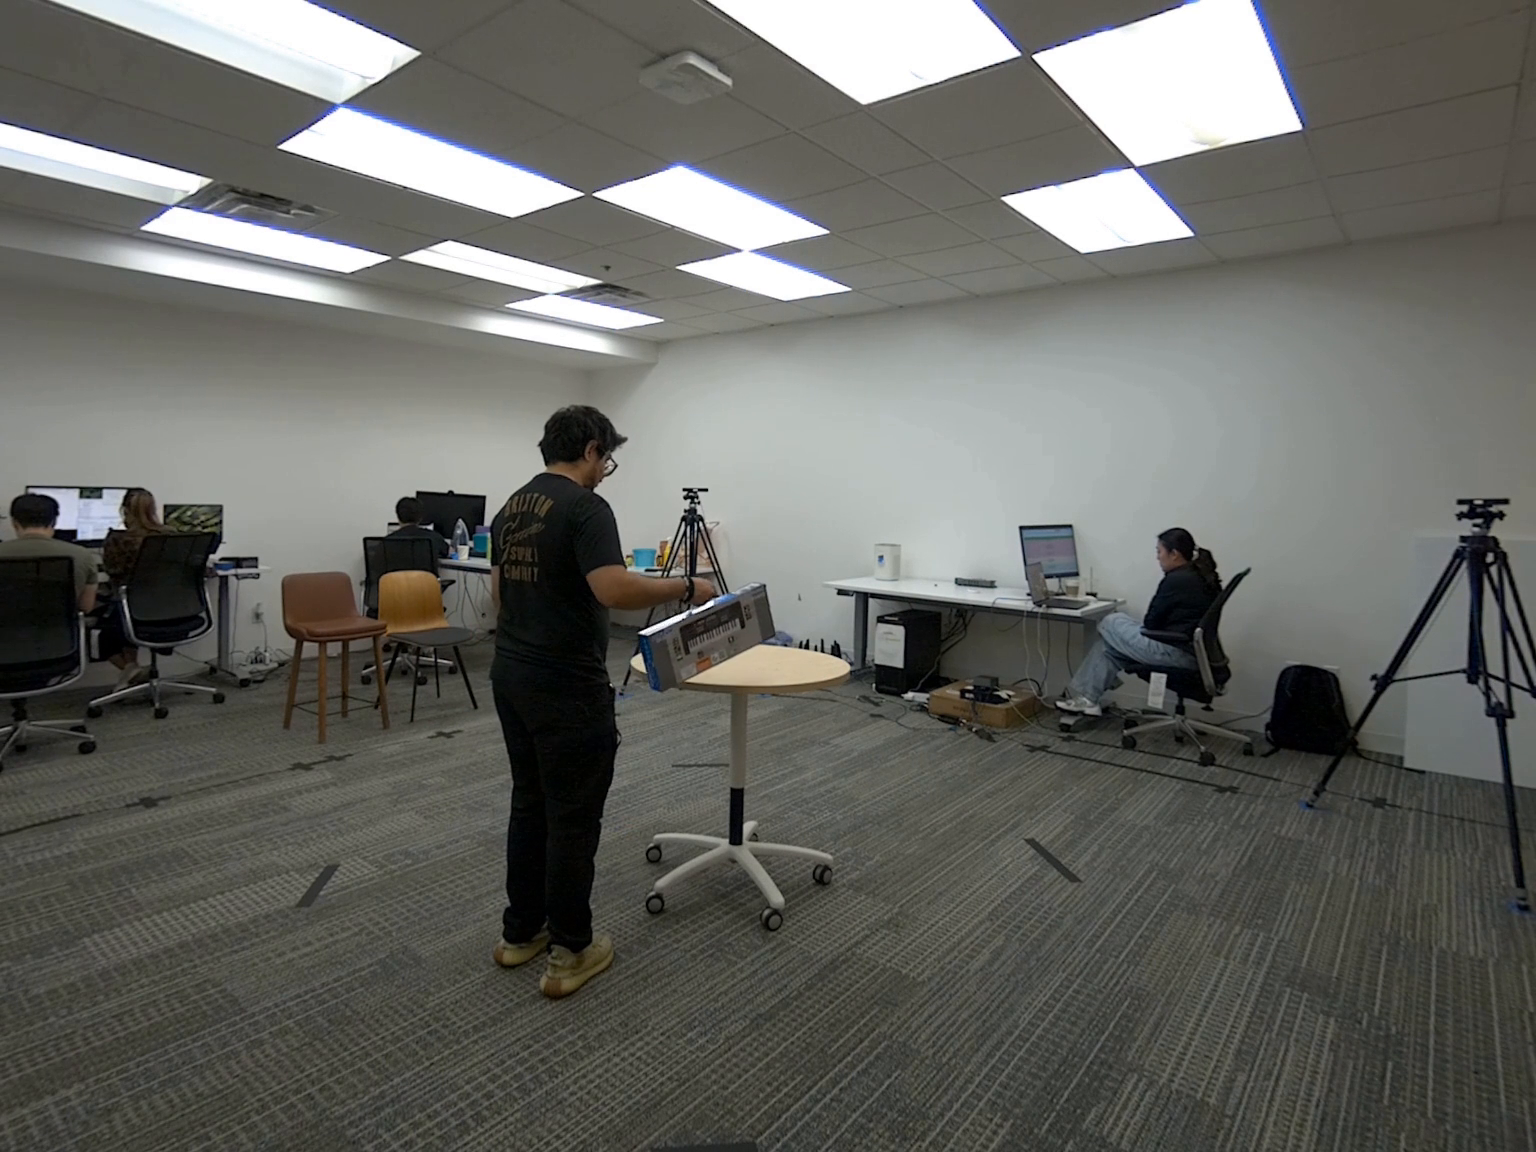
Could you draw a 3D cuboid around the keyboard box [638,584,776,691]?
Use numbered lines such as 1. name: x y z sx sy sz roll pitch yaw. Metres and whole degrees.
1. keyboard box: -0.180 0.184 2.482 0.429 0.173 0.061 -23 15 -35
